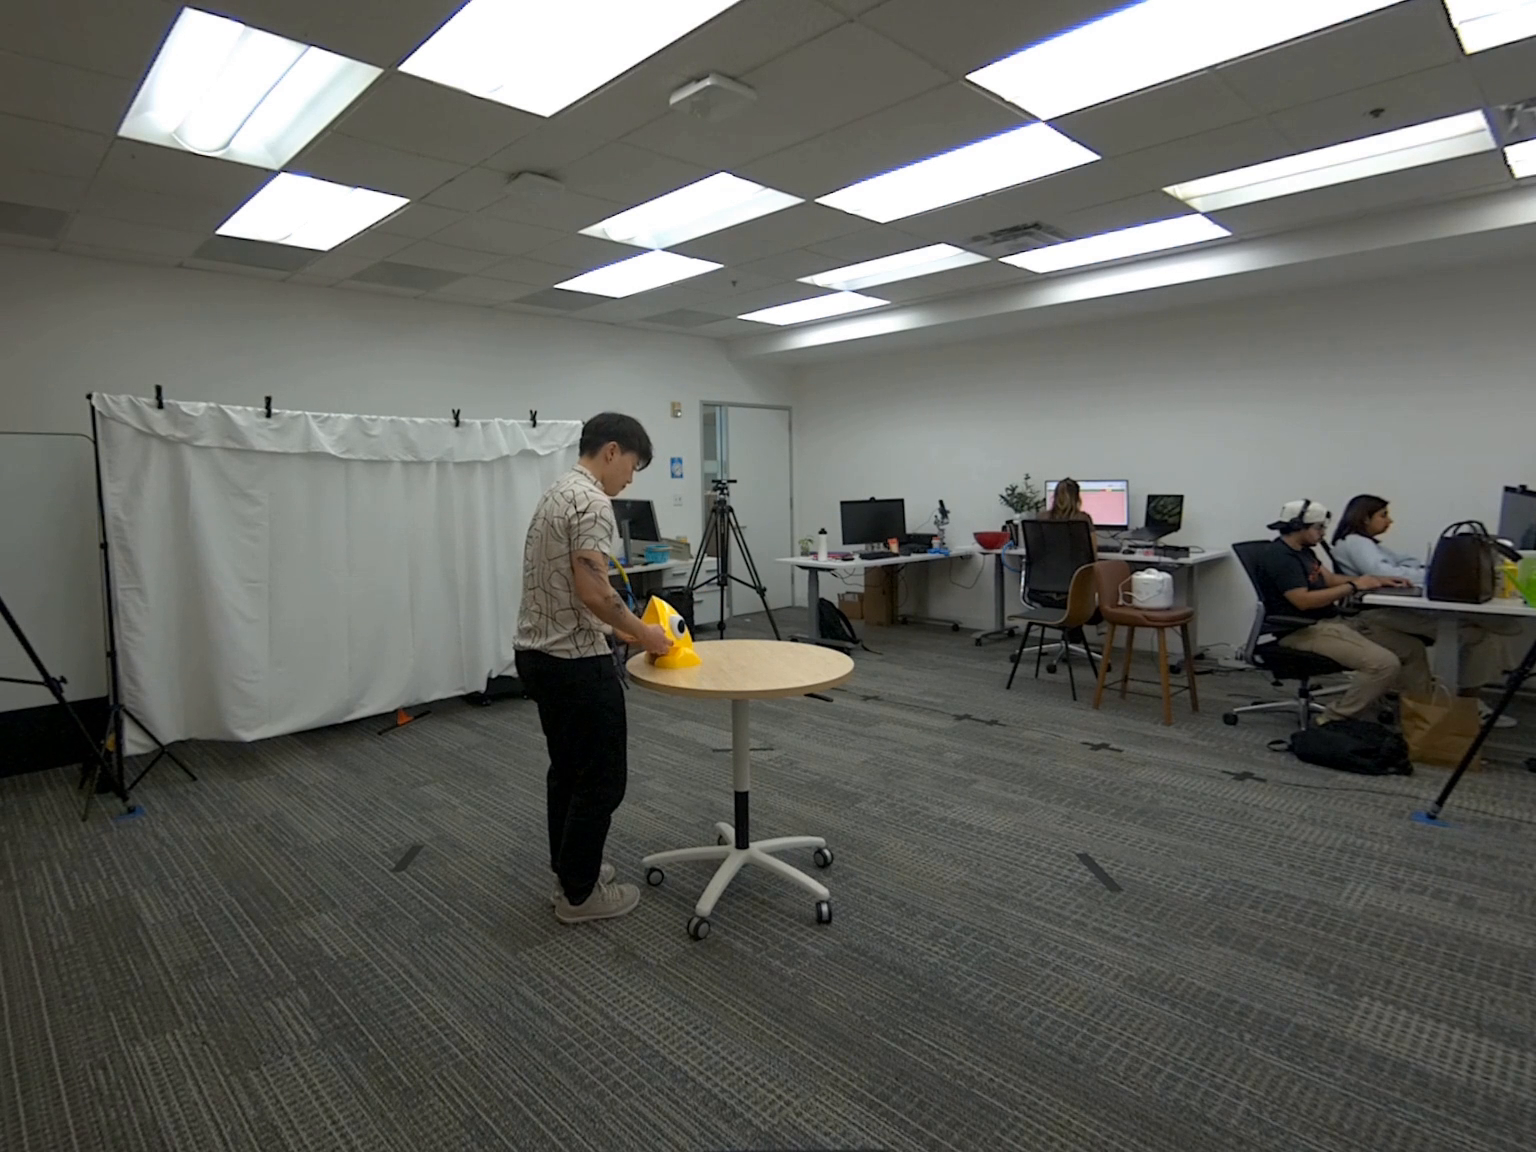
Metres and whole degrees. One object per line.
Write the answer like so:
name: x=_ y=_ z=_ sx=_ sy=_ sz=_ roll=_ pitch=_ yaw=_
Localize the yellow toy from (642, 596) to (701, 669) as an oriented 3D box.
yellow toy: x=-0.334 y=0.177 z=2.891 sx=0.188 sy=0.230 sz=0.211 roll=-3 pitch=5 yaw=-33
